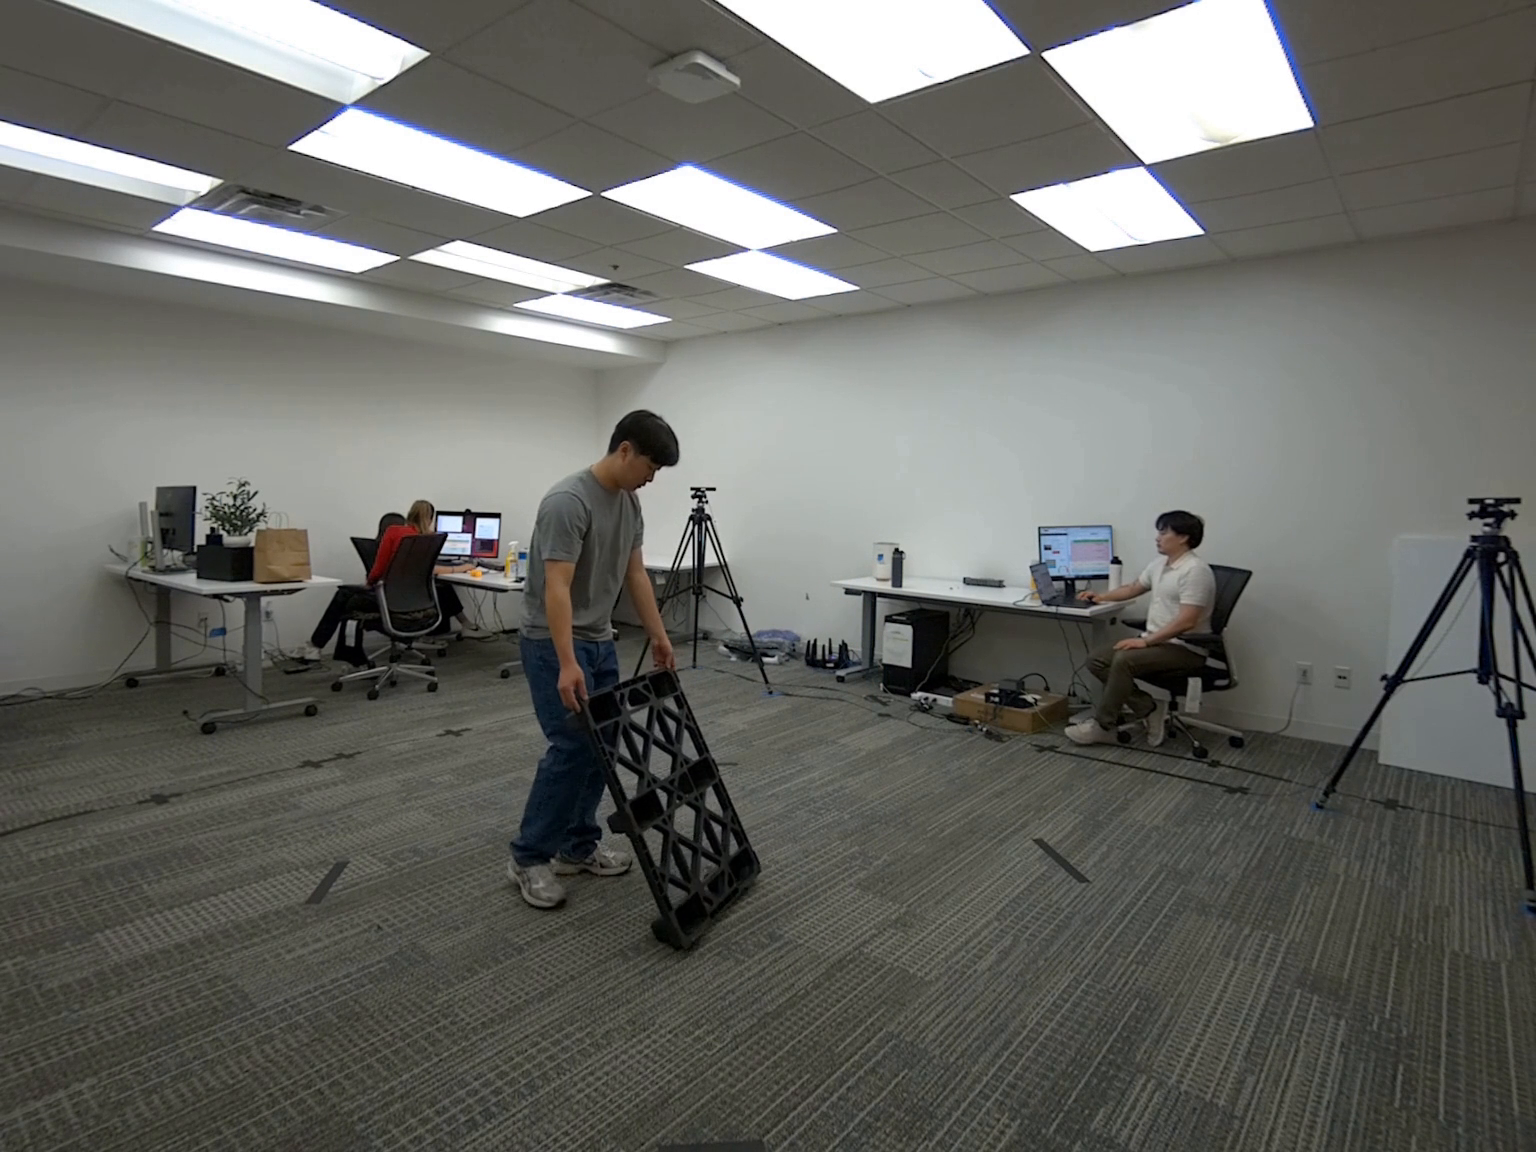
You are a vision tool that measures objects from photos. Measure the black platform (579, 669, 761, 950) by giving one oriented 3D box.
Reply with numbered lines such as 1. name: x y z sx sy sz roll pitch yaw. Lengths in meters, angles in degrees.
1. black platform: -0.359 0.739 2.836 0.145 0.816 0.592 -30 -9 23
